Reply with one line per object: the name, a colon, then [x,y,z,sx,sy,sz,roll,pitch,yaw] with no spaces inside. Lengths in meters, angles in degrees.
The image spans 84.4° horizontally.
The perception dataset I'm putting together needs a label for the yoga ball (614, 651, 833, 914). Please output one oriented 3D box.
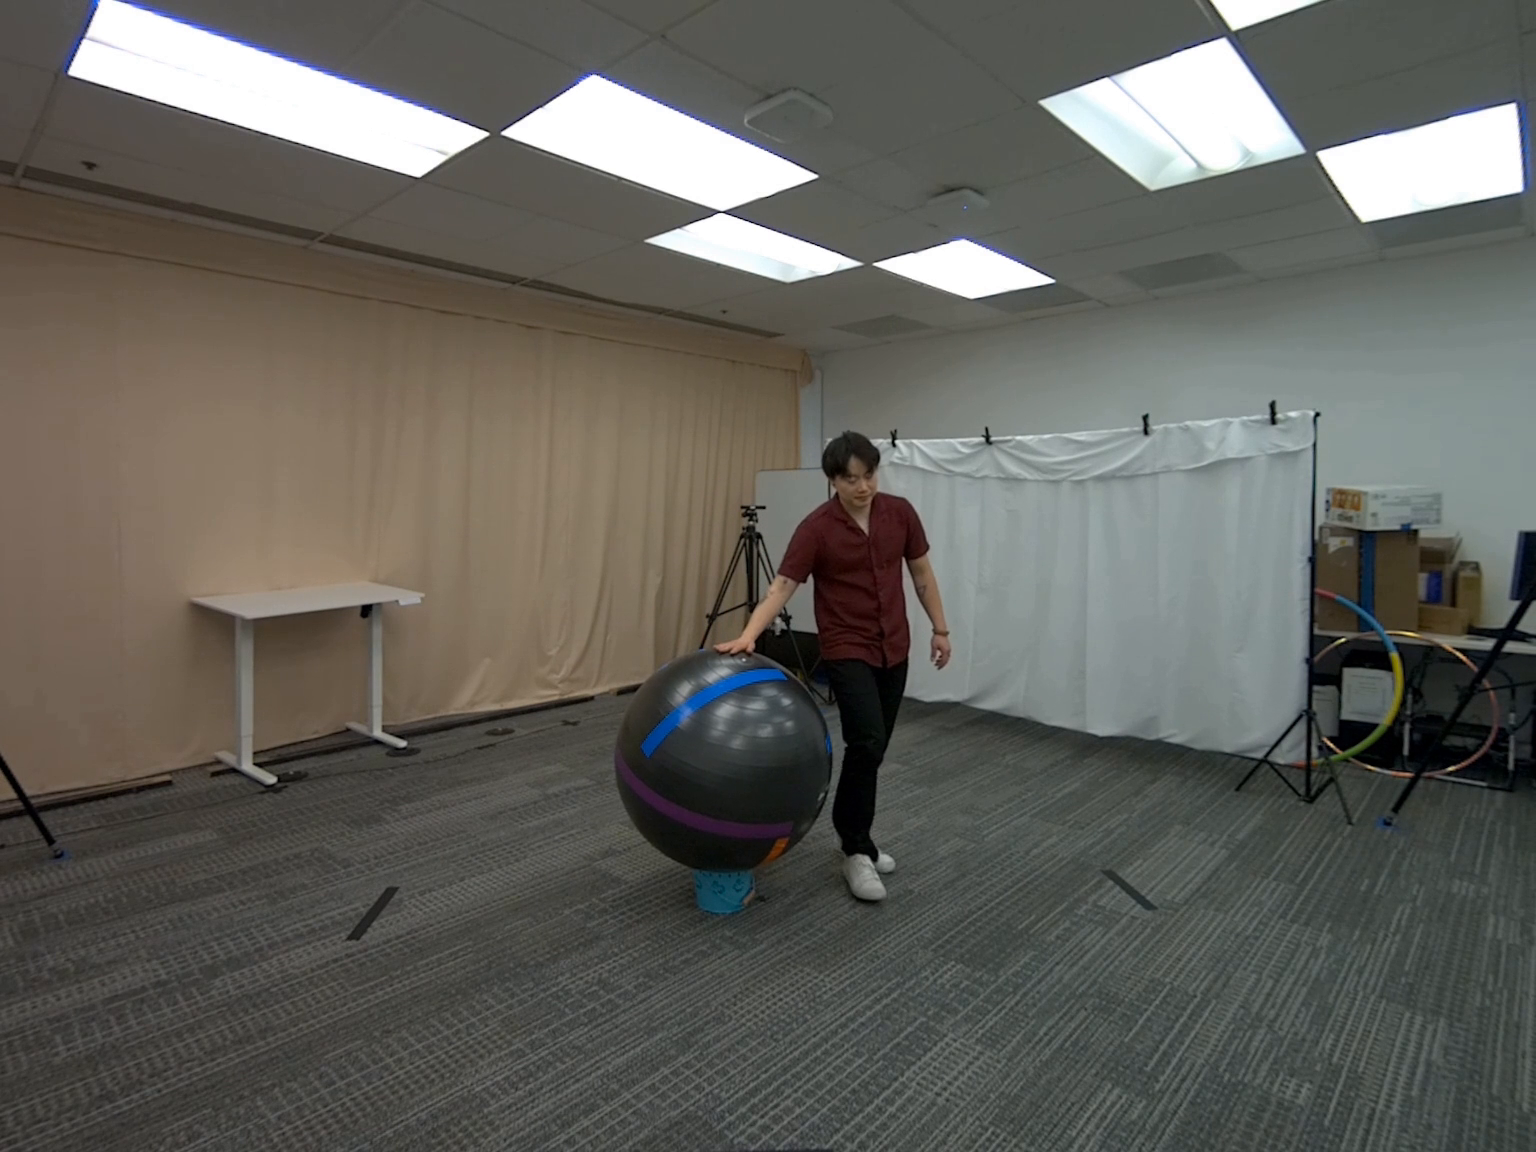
yoga ball: [-0.146,0.634,2.948,0.757,0.756,0.760,0,4,-2]
